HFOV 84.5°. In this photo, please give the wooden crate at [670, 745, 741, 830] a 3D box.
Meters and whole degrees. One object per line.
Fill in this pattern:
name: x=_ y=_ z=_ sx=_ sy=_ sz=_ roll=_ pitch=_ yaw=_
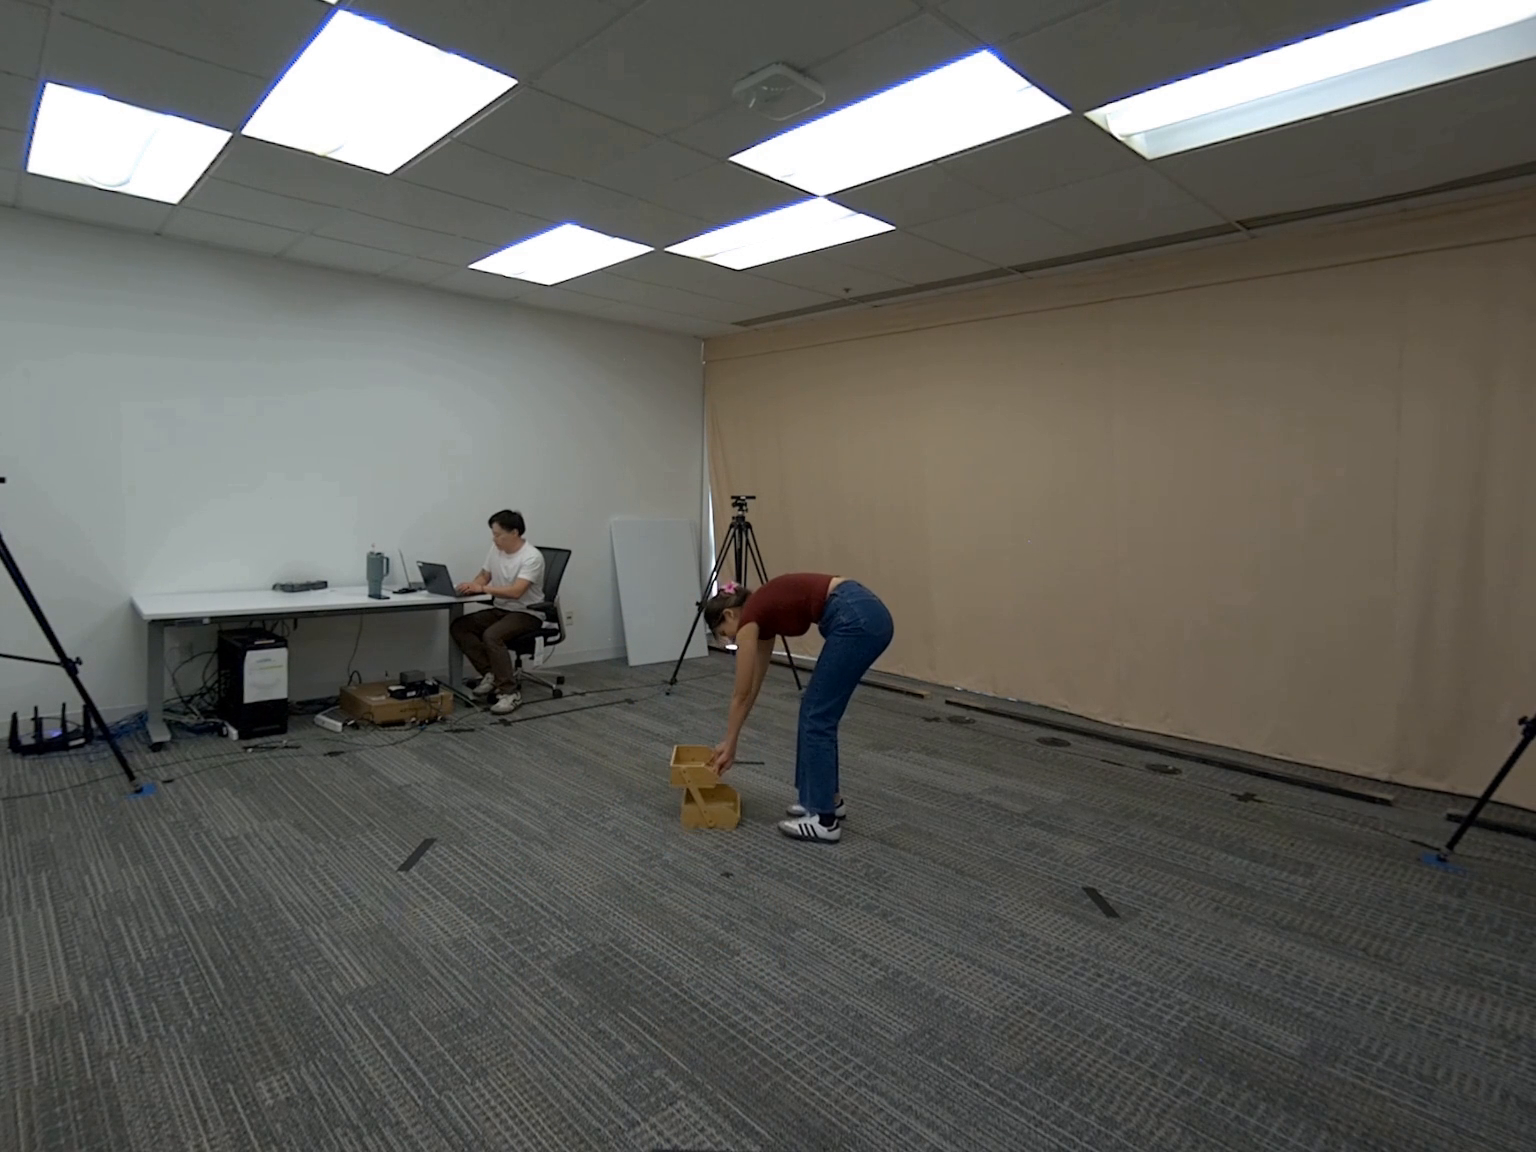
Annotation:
wooden crate: x=-0.273 y=0.911 z=3.698 sx=0.302 sy=0.272 sz=0.326 roll=0 pitch=4 yaw=-2
